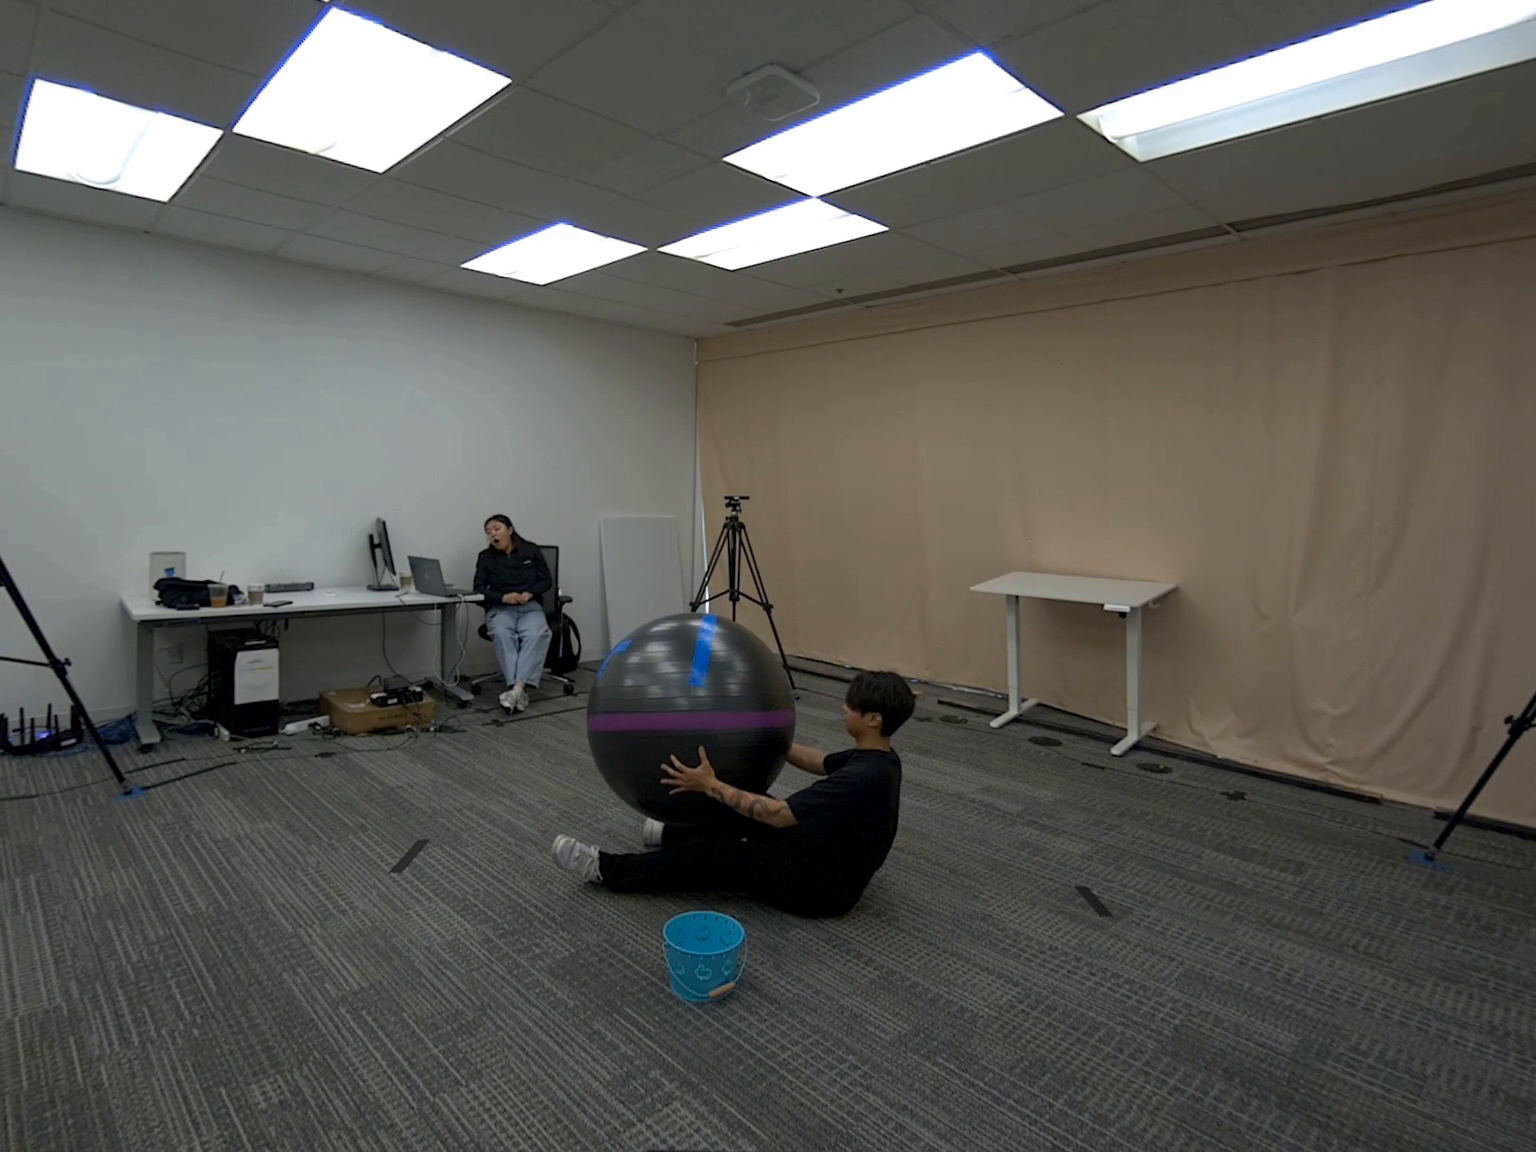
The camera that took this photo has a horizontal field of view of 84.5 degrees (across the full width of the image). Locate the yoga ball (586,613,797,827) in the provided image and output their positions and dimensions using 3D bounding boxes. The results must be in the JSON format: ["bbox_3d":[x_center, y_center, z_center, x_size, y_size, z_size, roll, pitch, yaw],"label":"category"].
[{"bbox_3d":[-0.296,0.533,3.104,0.757,0.756,0.761,1,4,-1],"label":"yoga ball"}]
